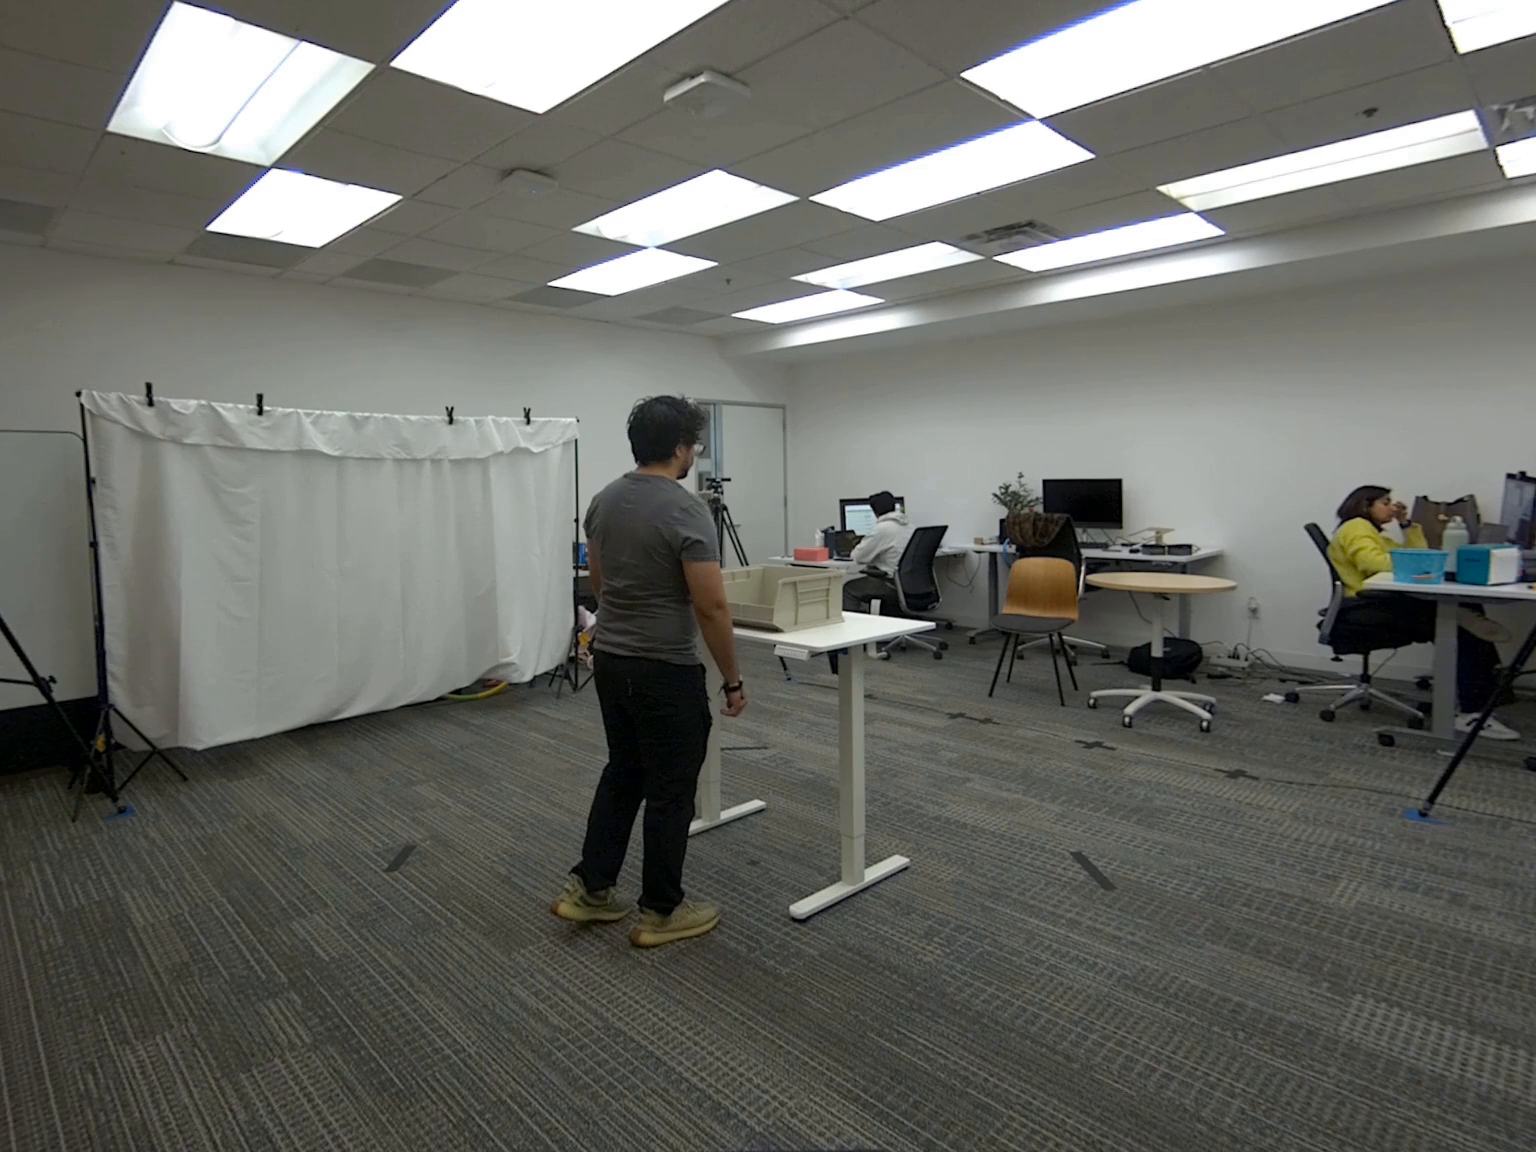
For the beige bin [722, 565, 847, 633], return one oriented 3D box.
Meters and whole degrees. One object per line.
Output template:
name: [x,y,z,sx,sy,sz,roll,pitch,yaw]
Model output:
beige bin: [0.002,0.076,3.041,0.367,0.188,0.435,-5,6,-44]
